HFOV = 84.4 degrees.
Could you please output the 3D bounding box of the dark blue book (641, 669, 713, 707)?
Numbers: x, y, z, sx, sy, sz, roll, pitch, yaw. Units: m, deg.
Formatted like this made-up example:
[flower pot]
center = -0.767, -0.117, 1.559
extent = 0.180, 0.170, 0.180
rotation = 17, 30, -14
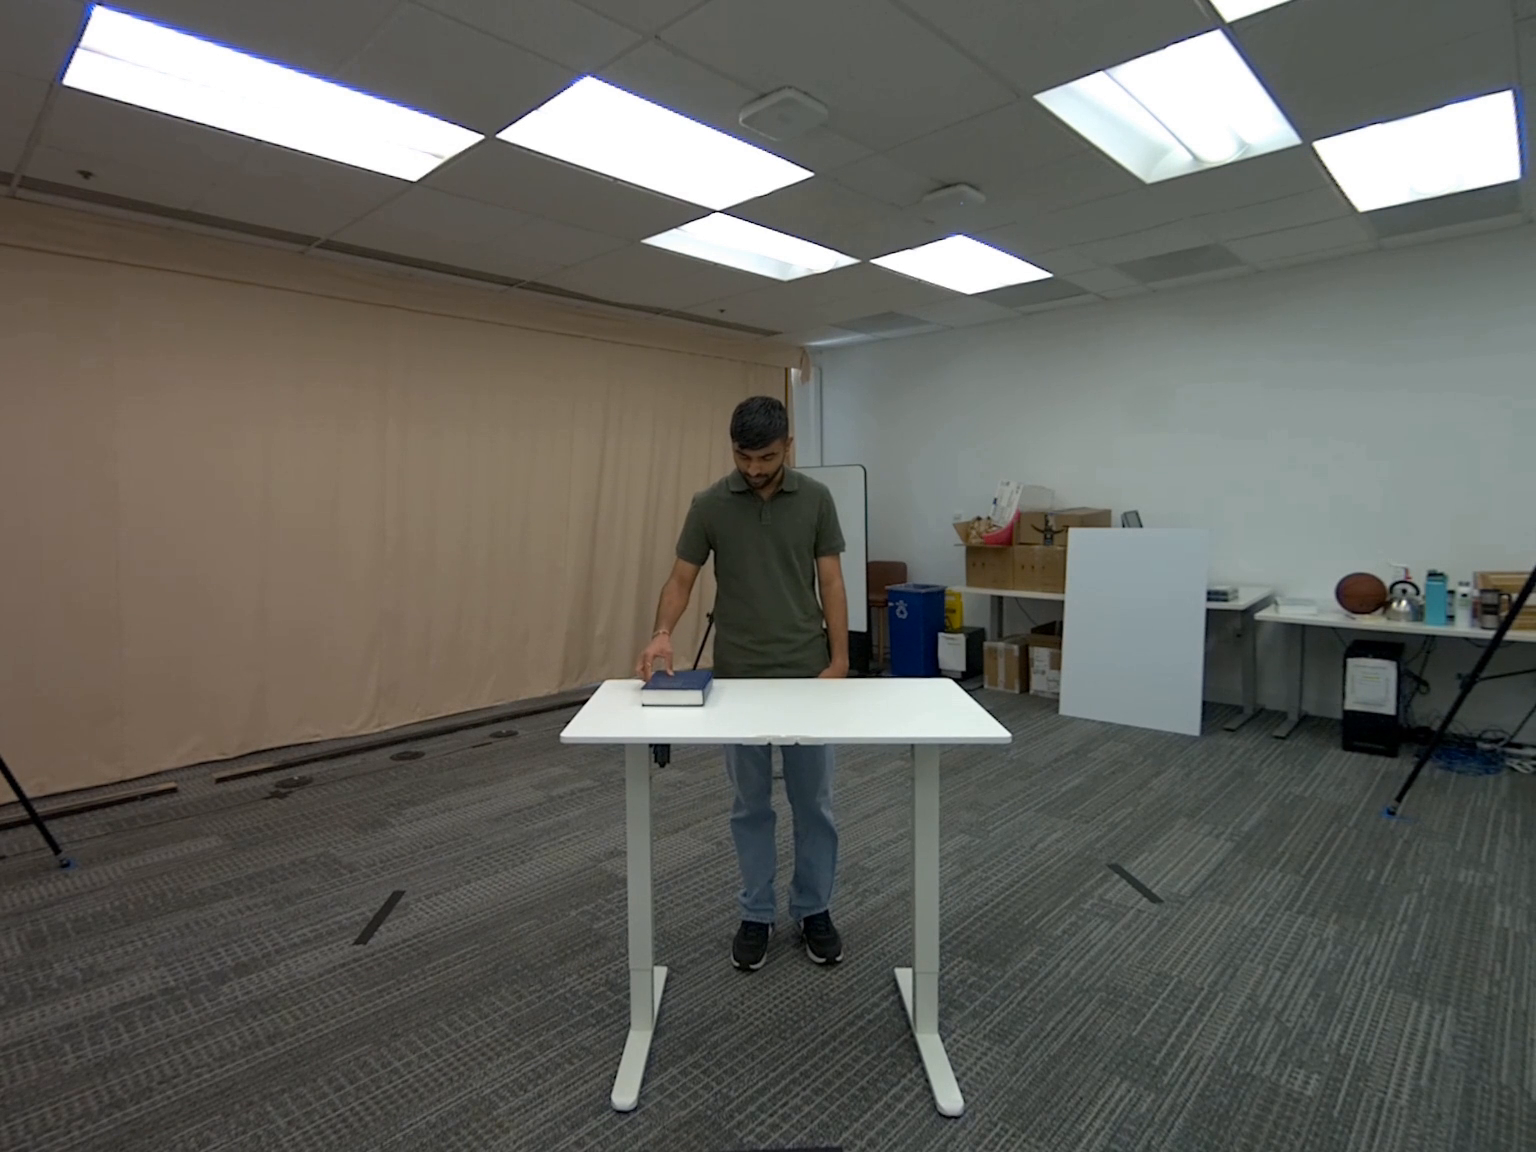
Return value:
[dark blue book]
center = -0.240, 0.302, 2.246
extent = 0.164, 0.045, 0.244
rotation = 1, 3, 2
